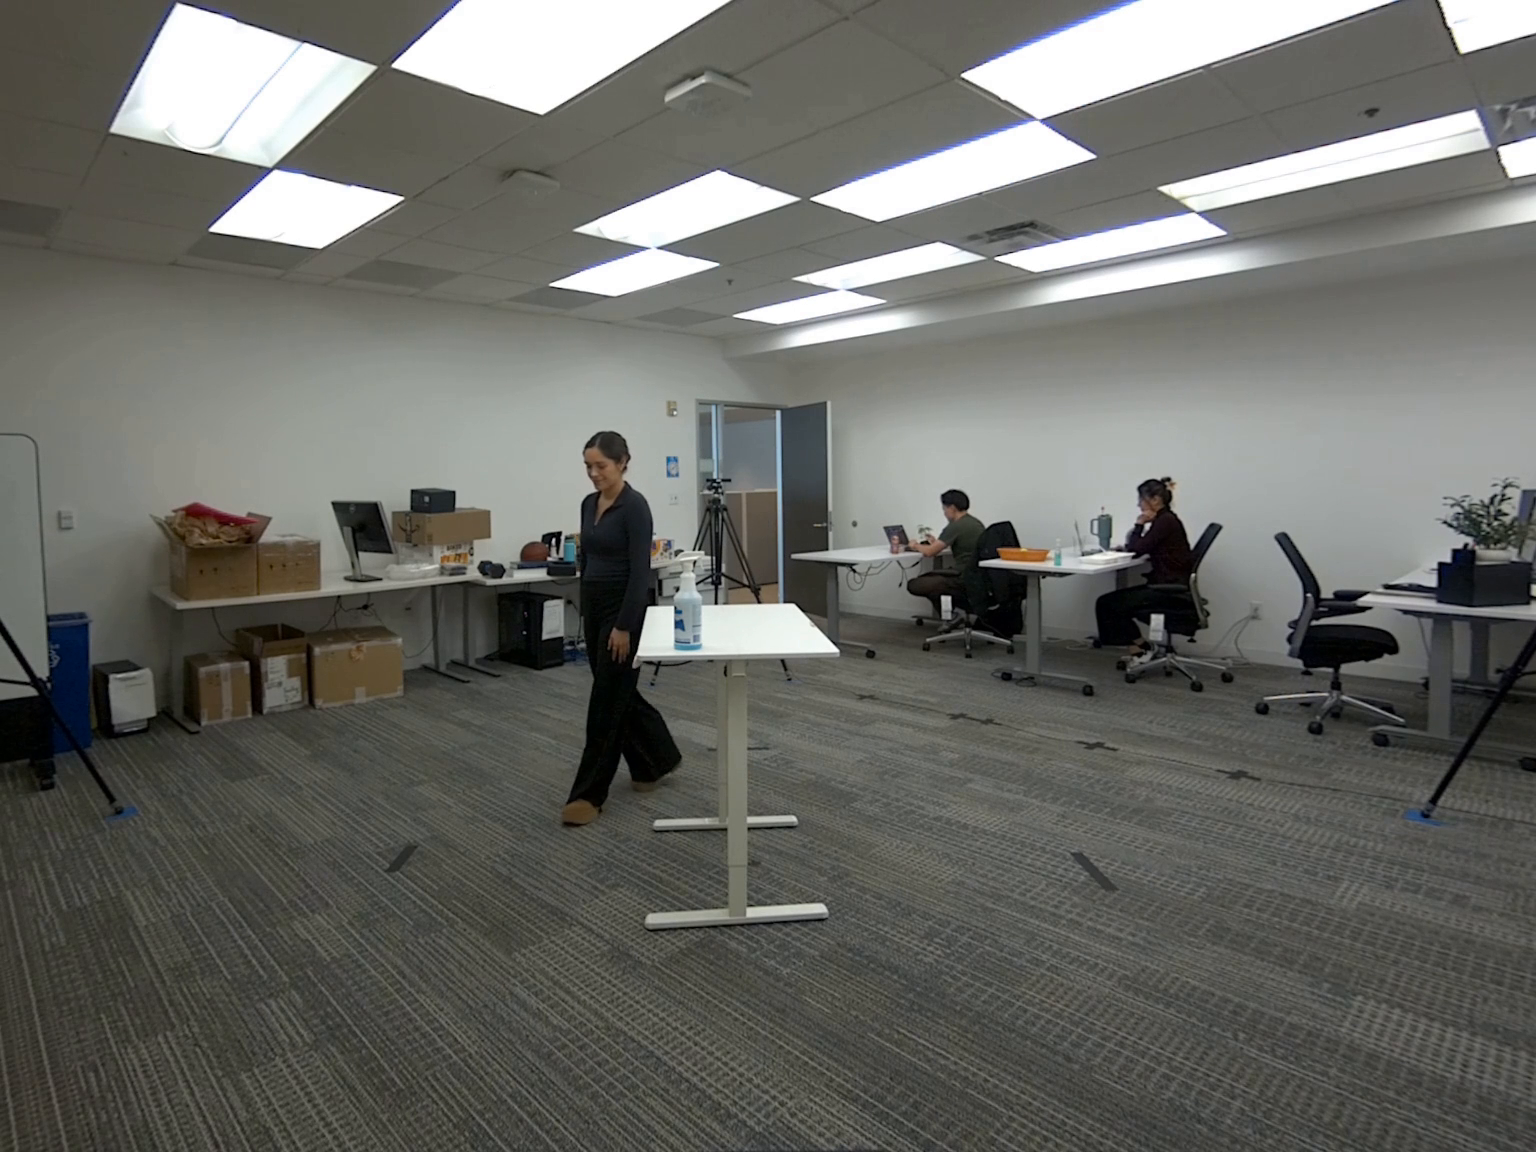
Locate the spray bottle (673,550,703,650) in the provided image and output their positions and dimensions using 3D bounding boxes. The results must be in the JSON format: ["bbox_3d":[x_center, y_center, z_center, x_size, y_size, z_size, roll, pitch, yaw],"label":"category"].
[{"bbox_3d":[-0.246,0.078,2.604,0.092,0.296,0.086,2,4,19],"label":"spray bottle"}]
